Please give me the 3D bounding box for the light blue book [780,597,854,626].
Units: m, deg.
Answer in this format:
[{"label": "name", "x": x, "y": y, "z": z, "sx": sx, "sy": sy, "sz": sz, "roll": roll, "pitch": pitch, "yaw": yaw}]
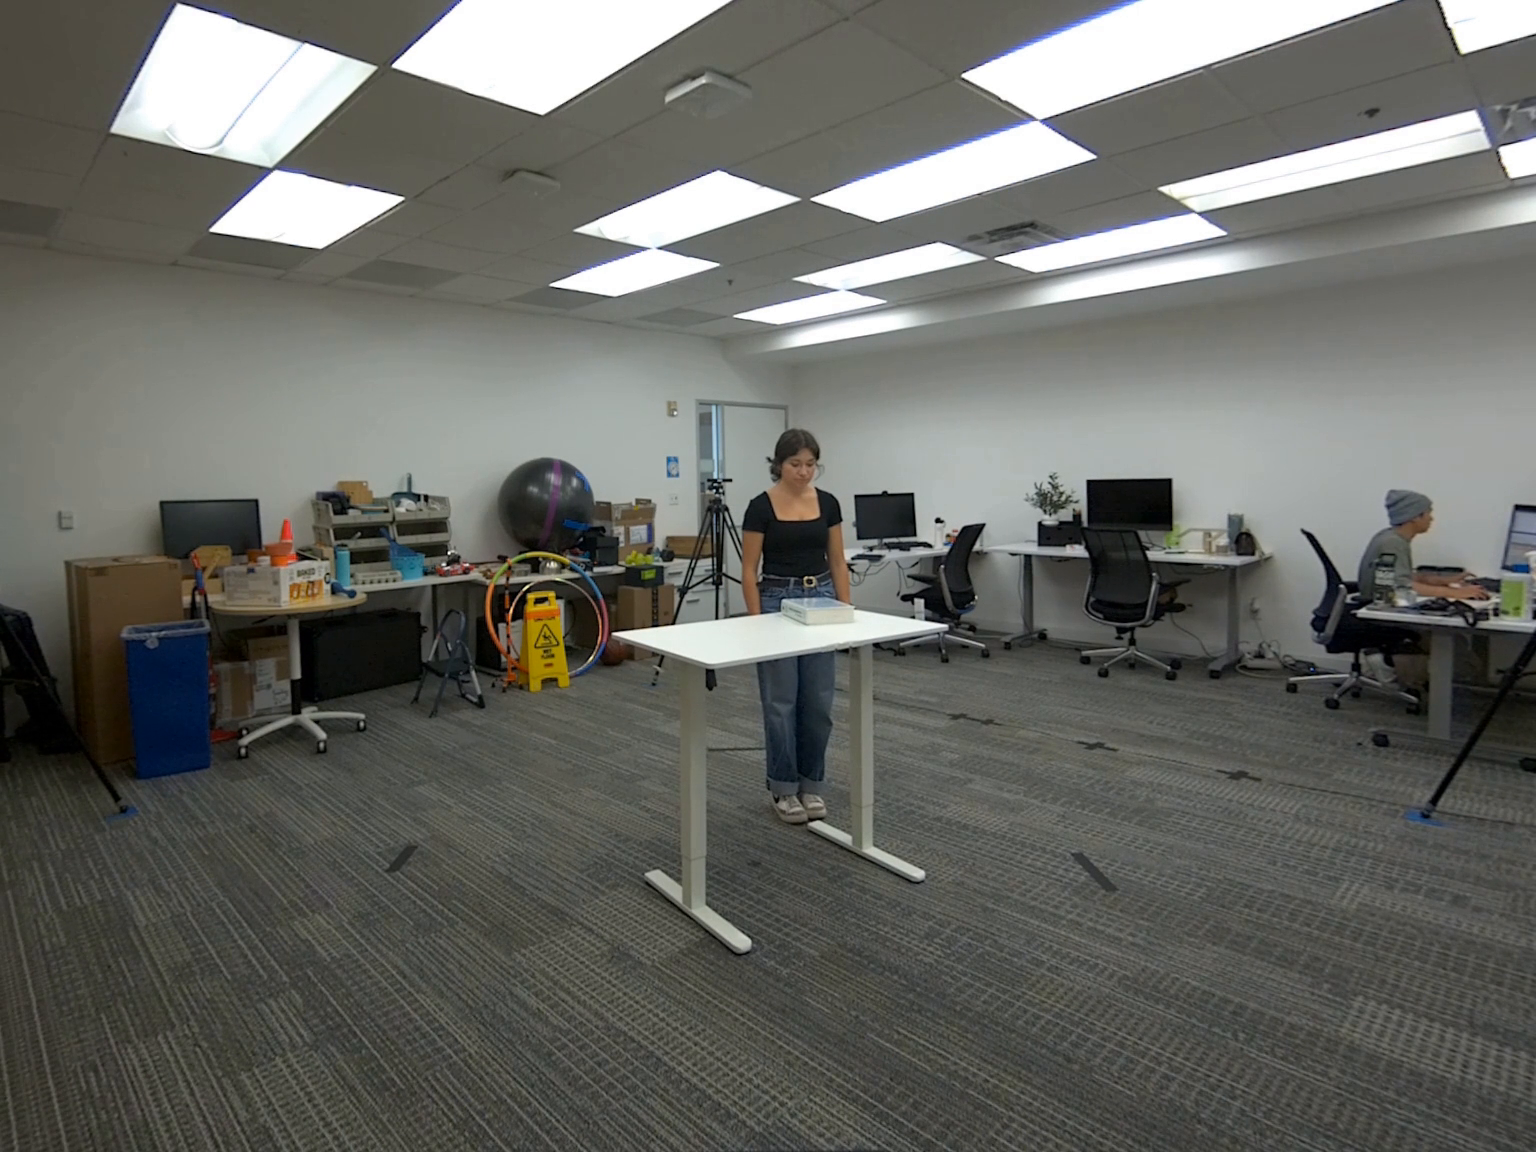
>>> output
[{"label": "light blue book", "x": 0.171, "y": 0.128, "z": 3.145, "sx": 0.188, "sy": 0.059, "sz": 0.267, "roll": -1, "pitch": 6, "yaw": -20}]
